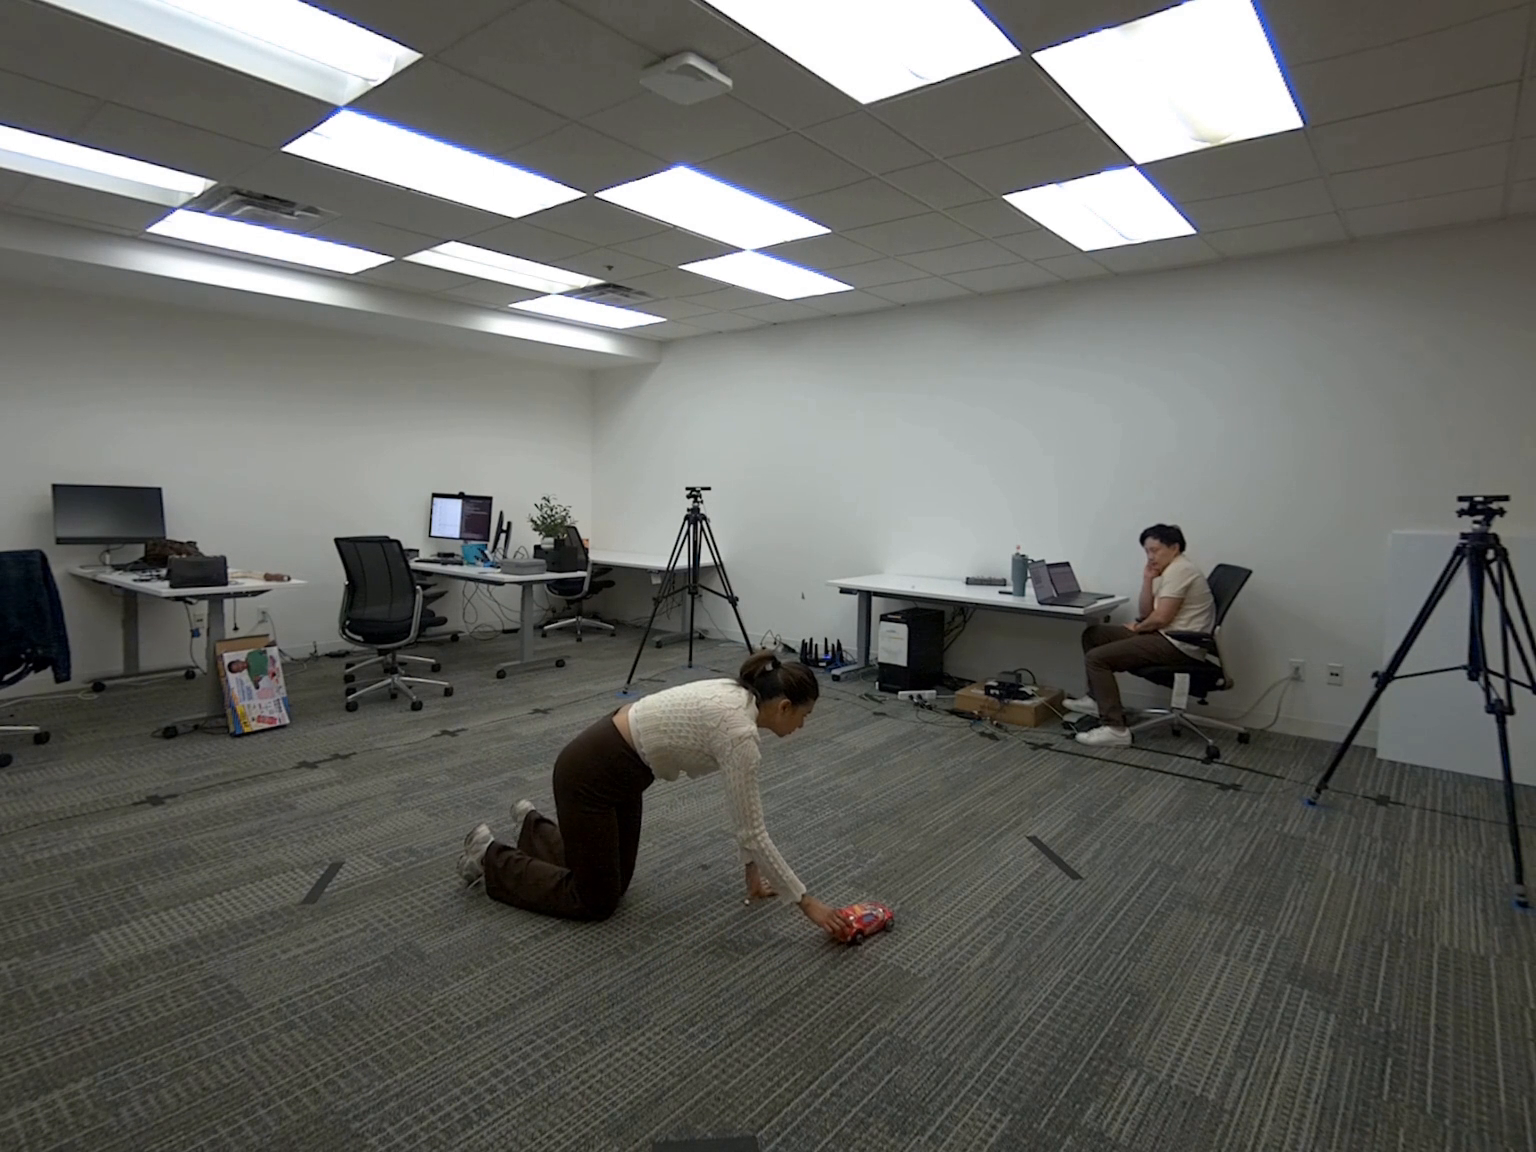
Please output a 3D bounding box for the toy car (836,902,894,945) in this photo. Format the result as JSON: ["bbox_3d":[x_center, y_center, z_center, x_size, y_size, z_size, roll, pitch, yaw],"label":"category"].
[{"bbox_3d":[0.274,1.090,2.667,0.246,0.083,0.135,10,-1,-38],"label":"toy car"}]
